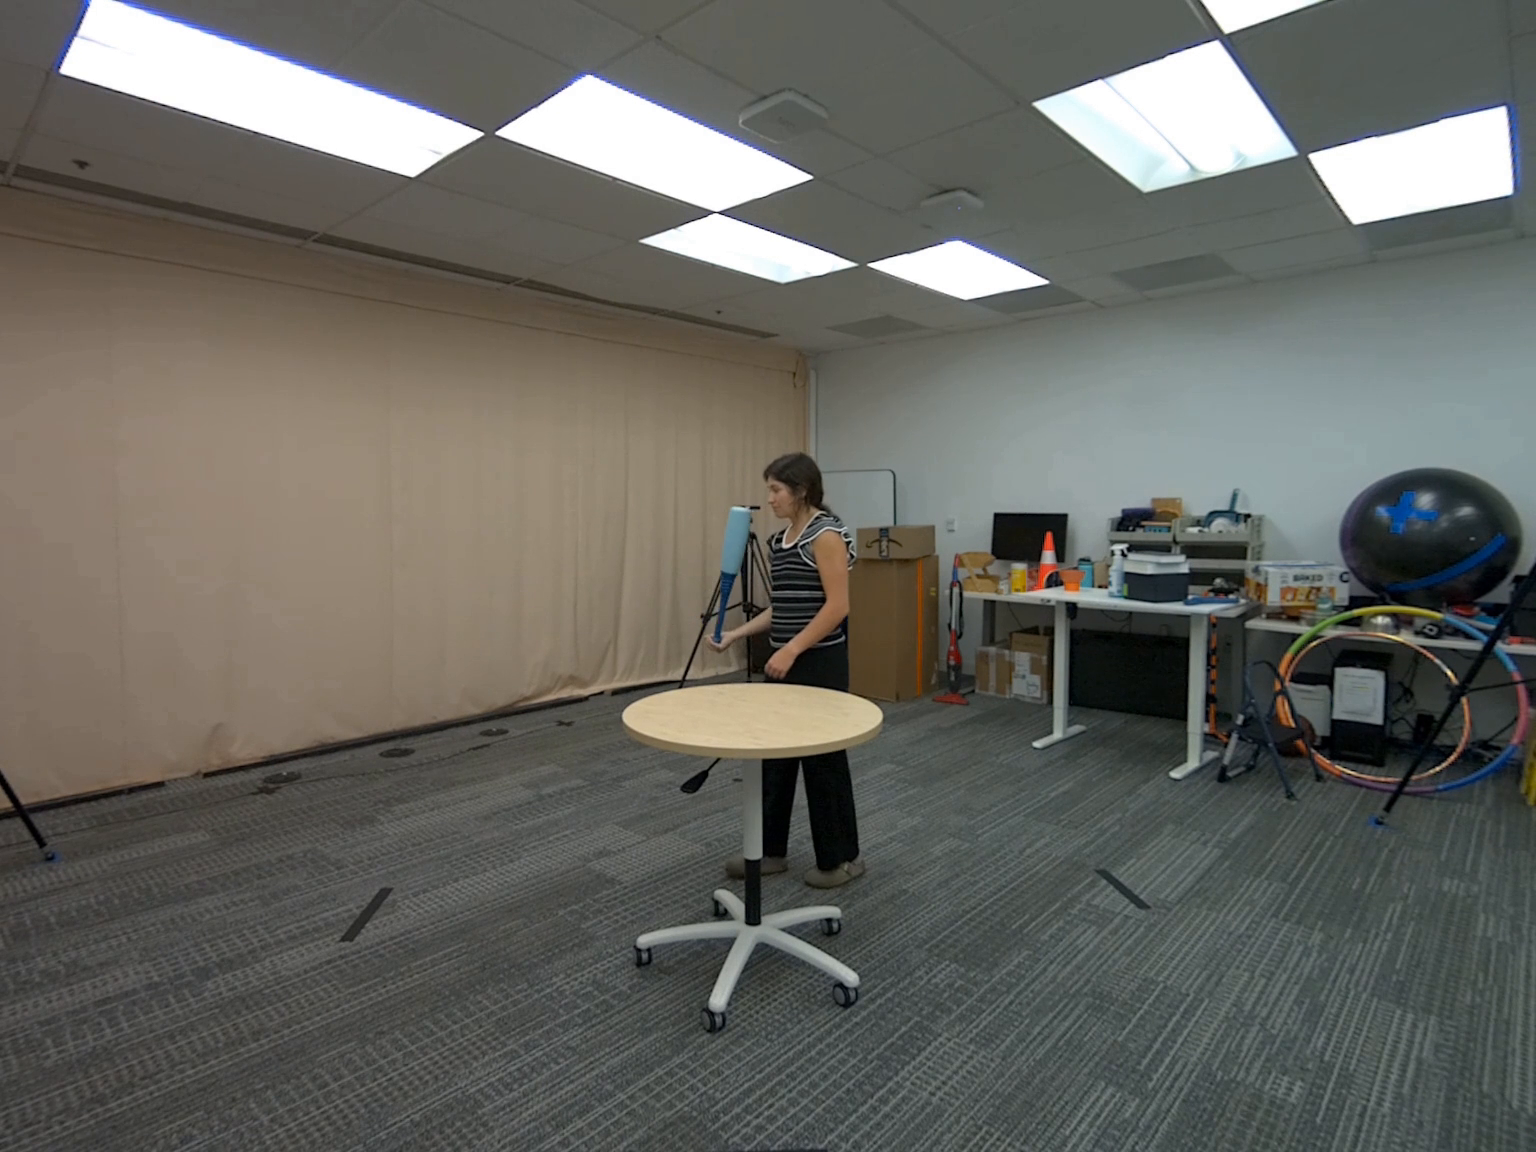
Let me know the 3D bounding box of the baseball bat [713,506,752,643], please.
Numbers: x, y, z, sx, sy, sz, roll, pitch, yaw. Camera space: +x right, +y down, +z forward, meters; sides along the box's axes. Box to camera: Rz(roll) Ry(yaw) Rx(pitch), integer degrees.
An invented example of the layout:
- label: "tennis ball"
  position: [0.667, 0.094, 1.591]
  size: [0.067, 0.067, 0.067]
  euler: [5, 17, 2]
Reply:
- label: "baseball bat"
  position: [-0.149, 0.005, 3.228]
  size: [0.089, 0.541, 0.089]
  euler: [10, 8, -3]
